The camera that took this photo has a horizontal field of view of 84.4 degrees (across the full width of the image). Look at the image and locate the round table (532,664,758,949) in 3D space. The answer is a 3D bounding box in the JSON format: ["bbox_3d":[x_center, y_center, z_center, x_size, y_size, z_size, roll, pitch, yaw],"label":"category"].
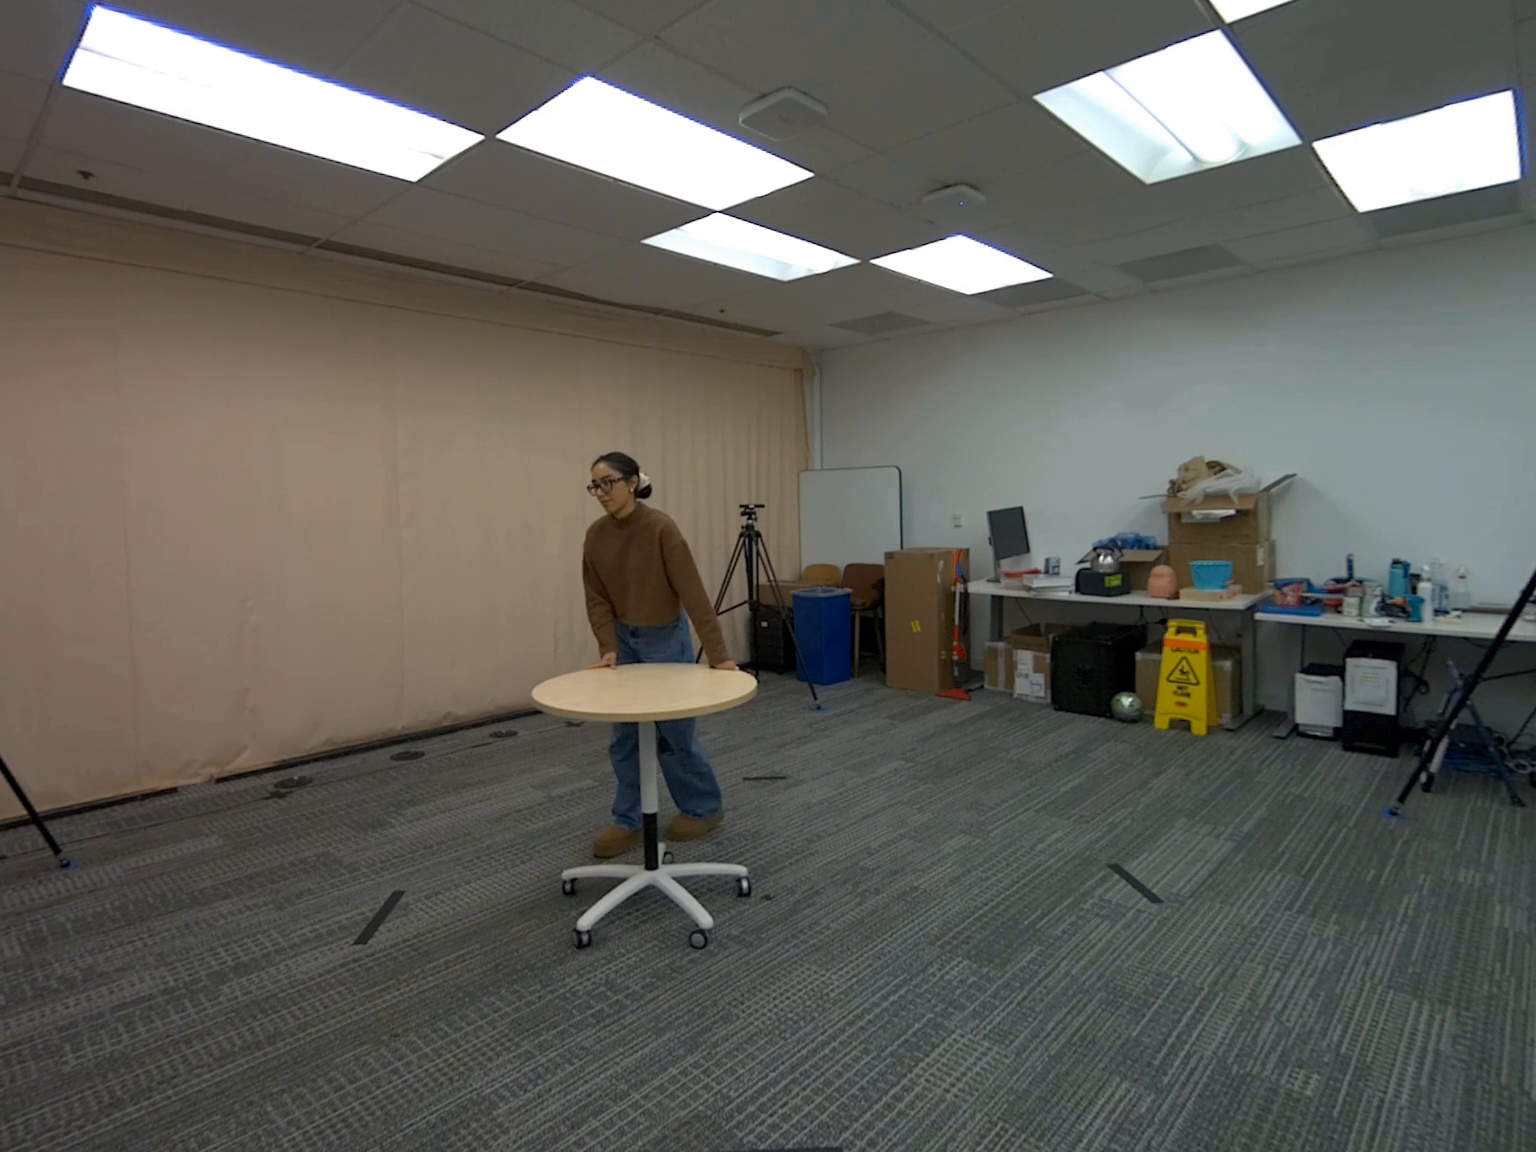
[{"bbox_3d":[-0.402,0.761,2.893,0.784,0.785,0.787,-2,3,-2],"label":"round table"}]
